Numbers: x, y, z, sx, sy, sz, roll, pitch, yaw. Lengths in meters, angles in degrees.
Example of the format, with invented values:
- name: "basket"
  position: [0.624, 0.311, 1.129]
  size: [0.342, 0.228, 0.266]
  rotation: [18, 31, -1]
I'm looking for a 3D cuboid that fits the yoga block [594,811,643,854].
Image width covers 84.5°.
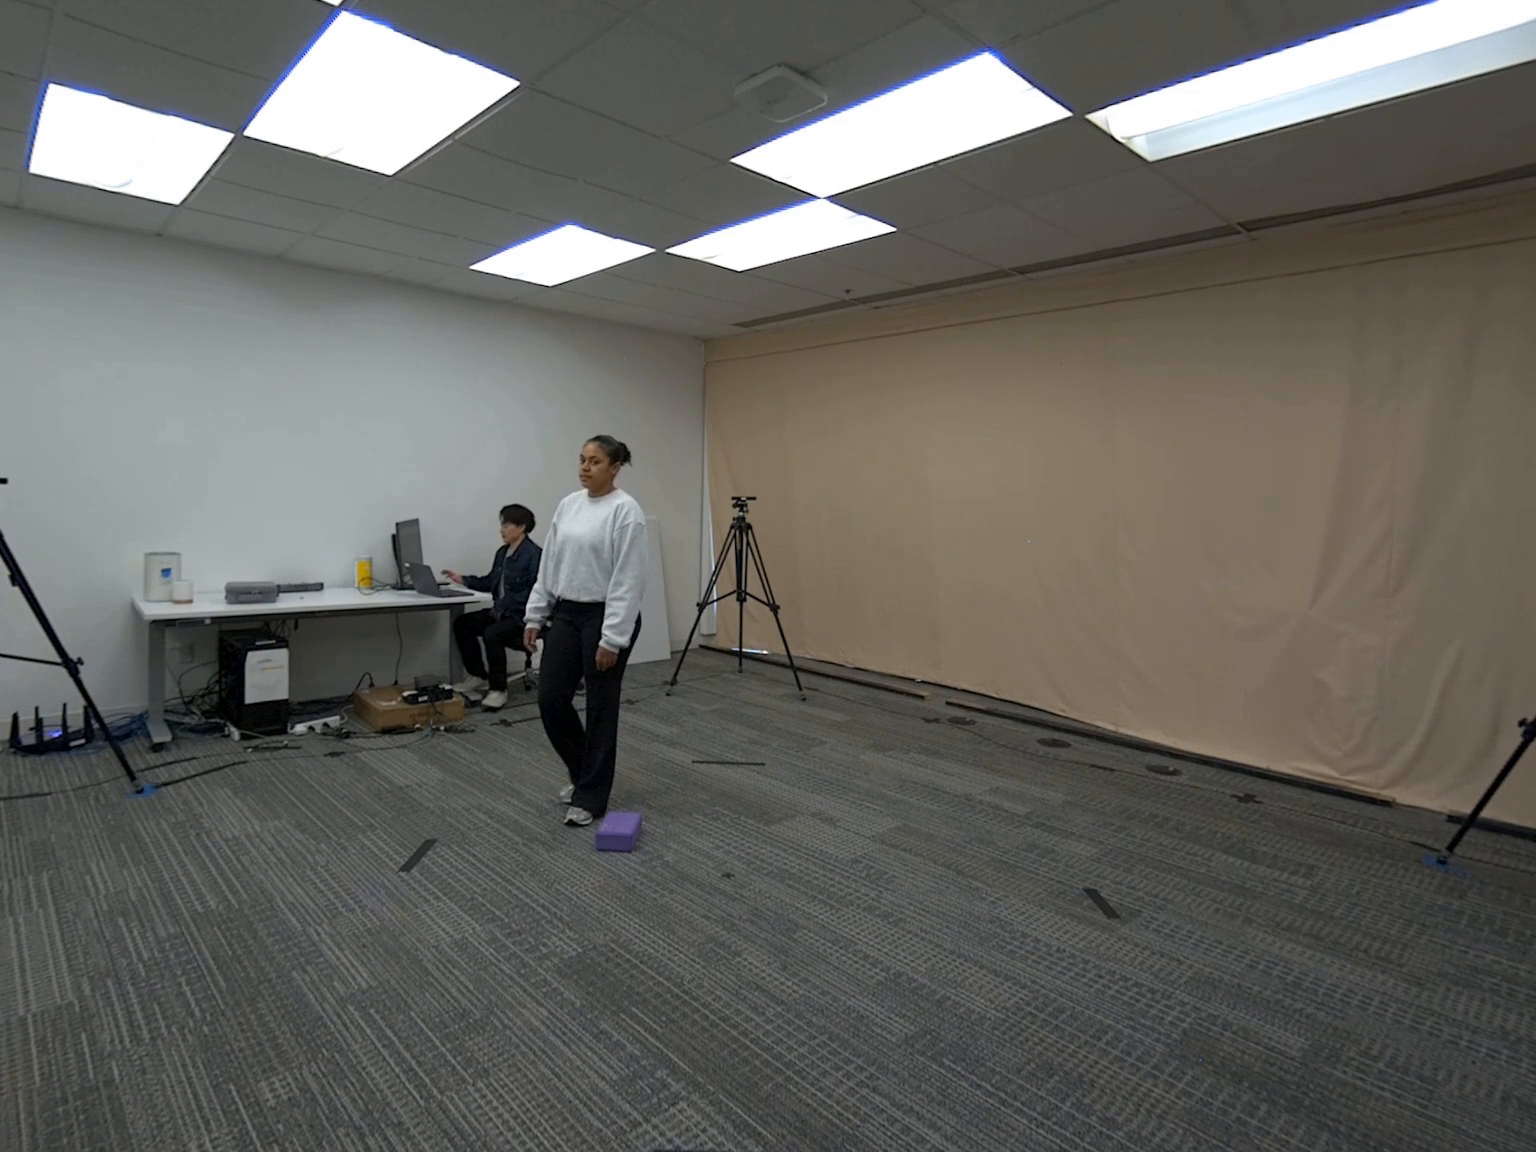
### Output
- name: "yoga block"
  position: [-0.610, 1.029, 3.398]
  size: [0.149, 0.076, 0.229]
  rotation: [3, 4, 3]
